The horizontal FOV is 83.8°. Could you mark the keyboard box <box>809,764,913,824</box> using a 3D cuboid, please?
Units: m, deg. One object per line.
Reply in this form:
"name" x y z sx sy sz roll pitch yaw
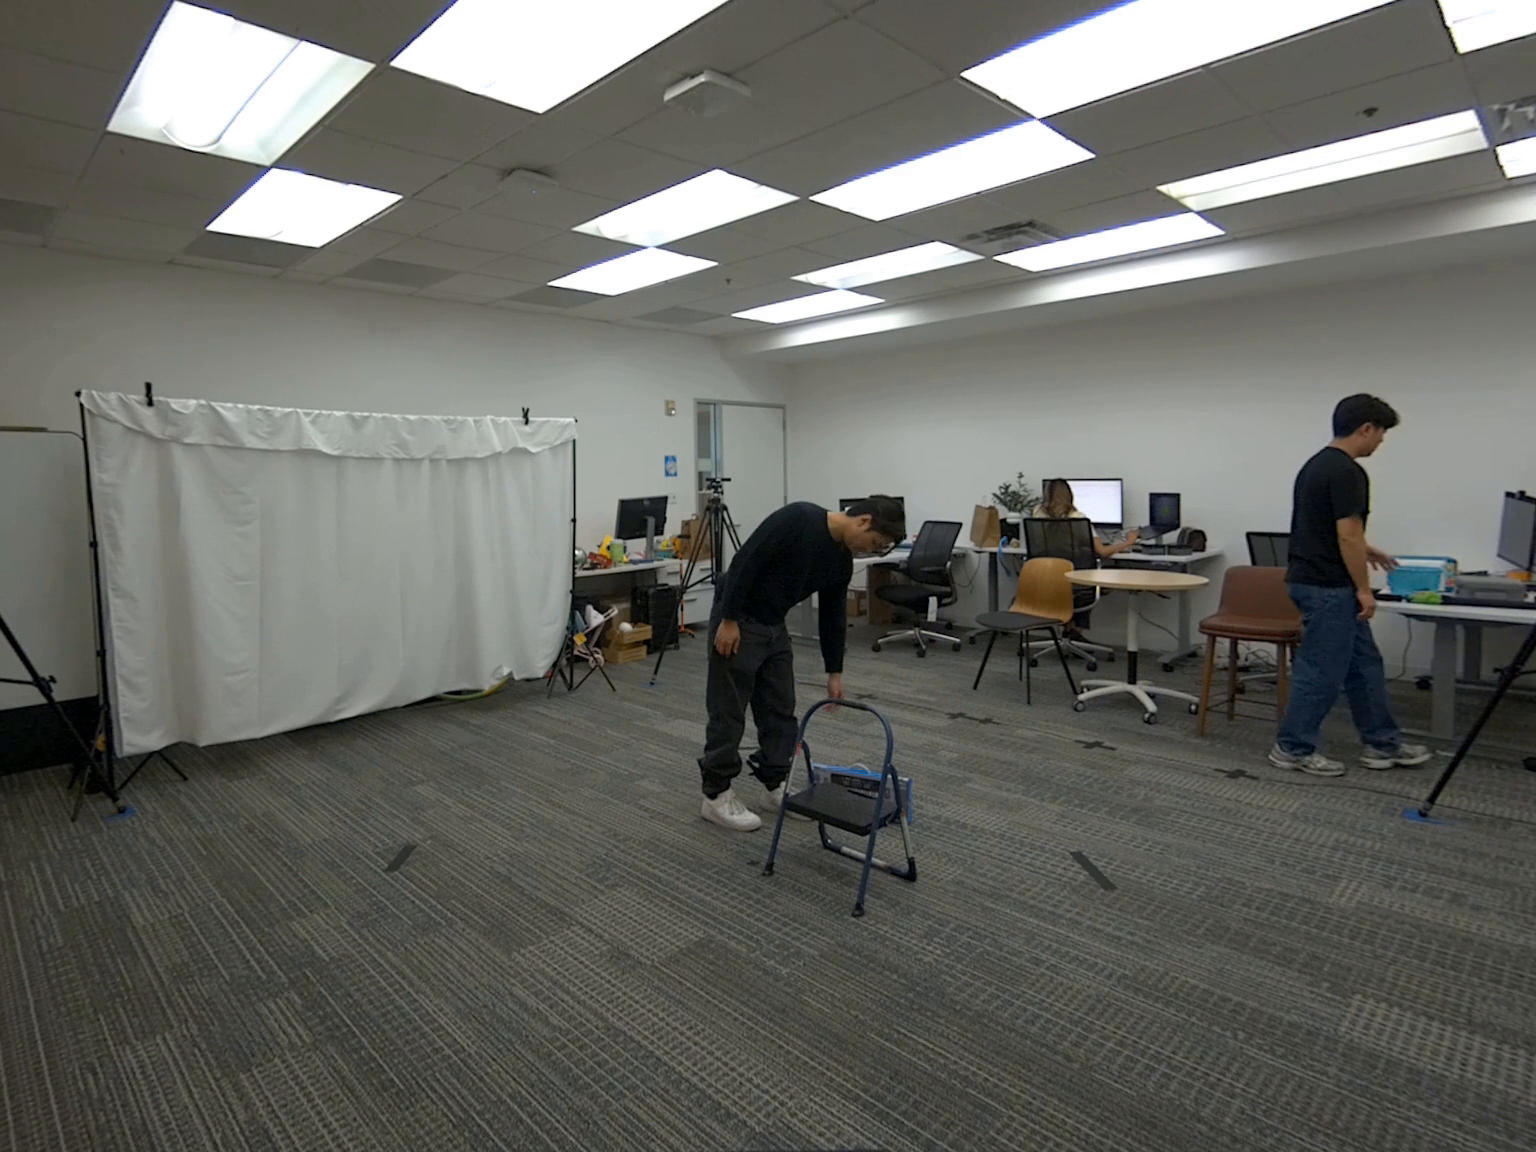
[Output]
"keyboard box" 0.377 0.895 3.537 0.448 0.176 0.057 3 -2 29
